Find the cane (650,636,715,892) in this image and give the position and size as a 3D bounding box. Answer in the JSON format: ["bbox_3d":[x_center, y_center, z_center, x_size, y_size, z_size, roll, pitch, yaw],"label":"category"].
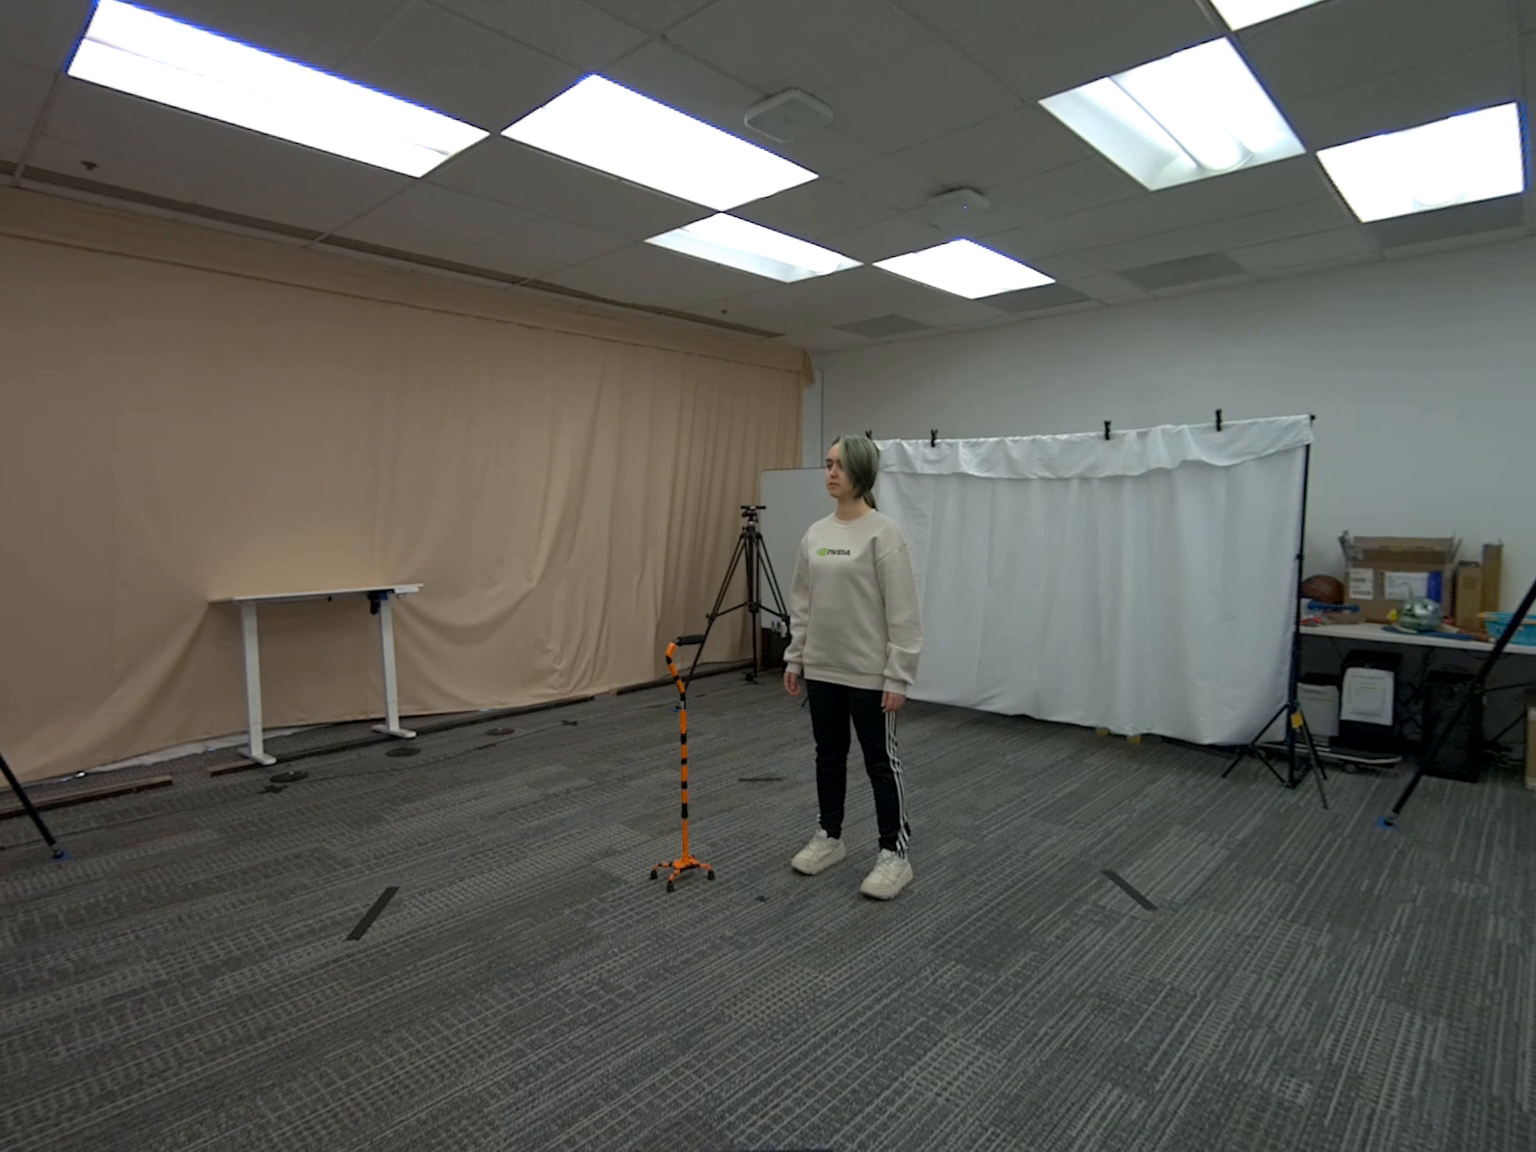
[{"bbox_3d":[-0.322,0.679,3.129,0.200,0.906,0.156,-2,3,-35],"label":"cane"}]
